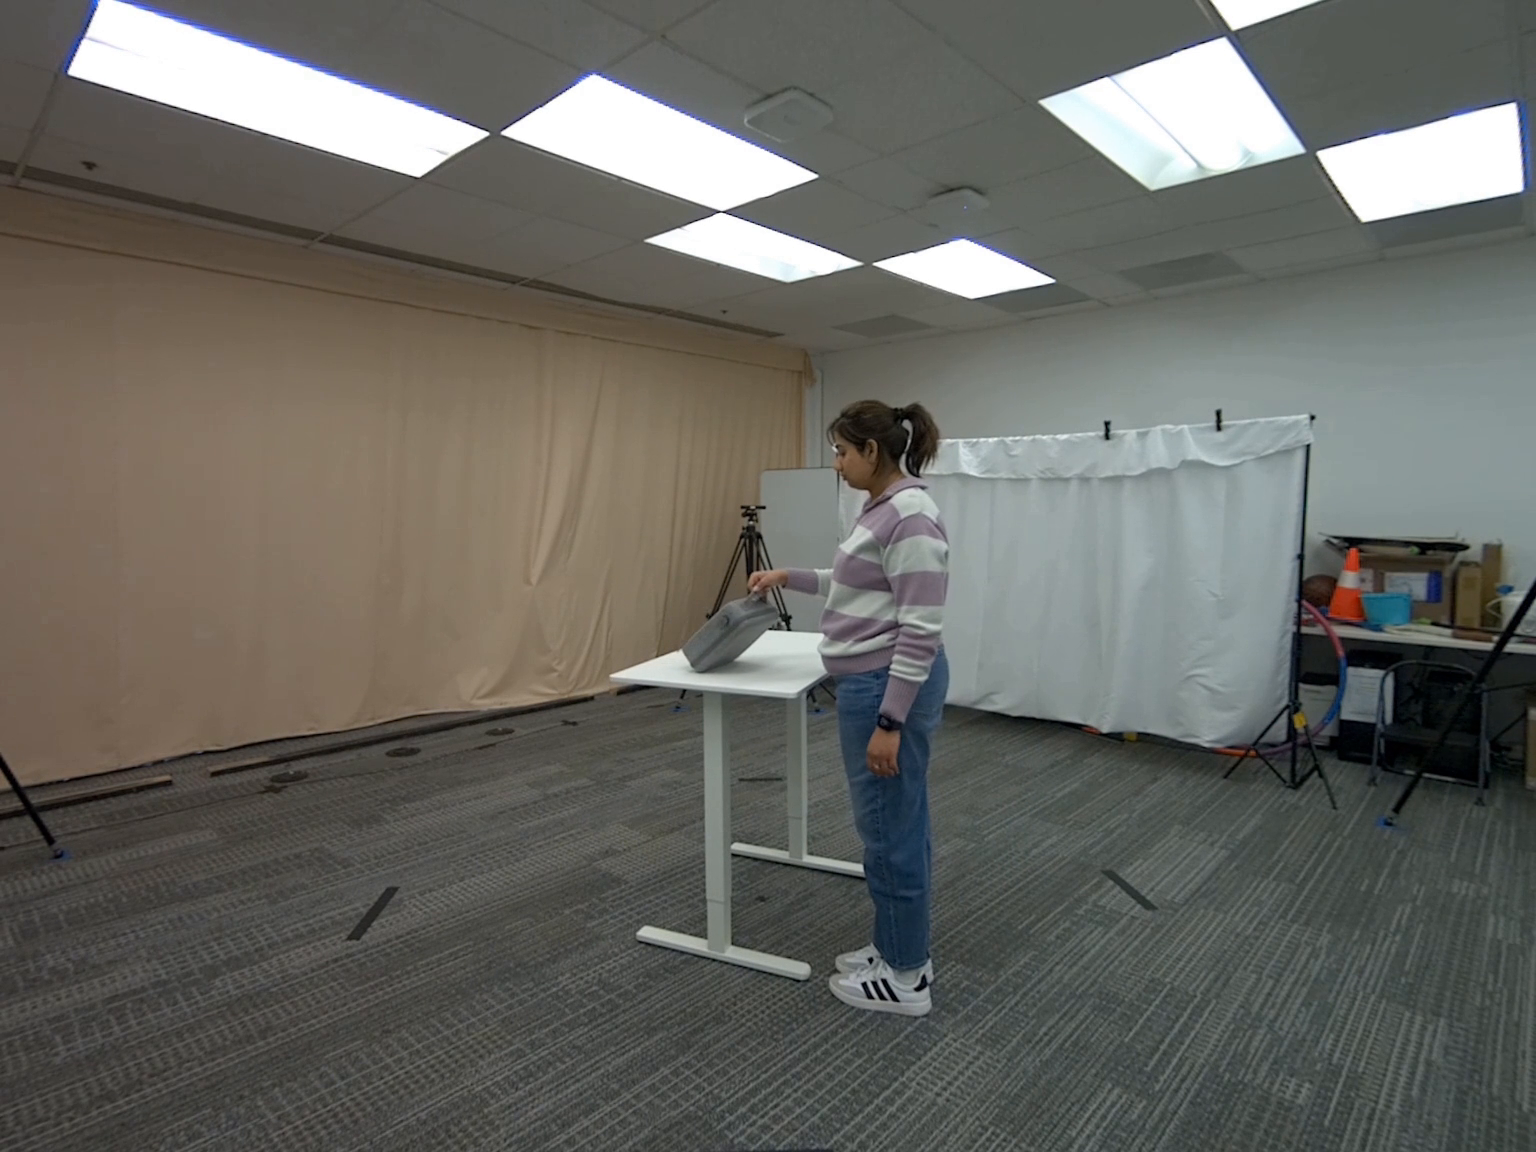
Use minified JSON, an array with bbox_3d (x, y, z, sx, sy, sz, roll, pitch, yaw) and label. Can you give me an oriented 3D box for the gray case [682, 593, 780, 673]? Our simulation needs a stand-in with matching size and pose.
[{"bbox_3d":[-0.116,0.177,2.641,0.262,0.106,0.251,-45,-15,23],"label":"gray case"}]
